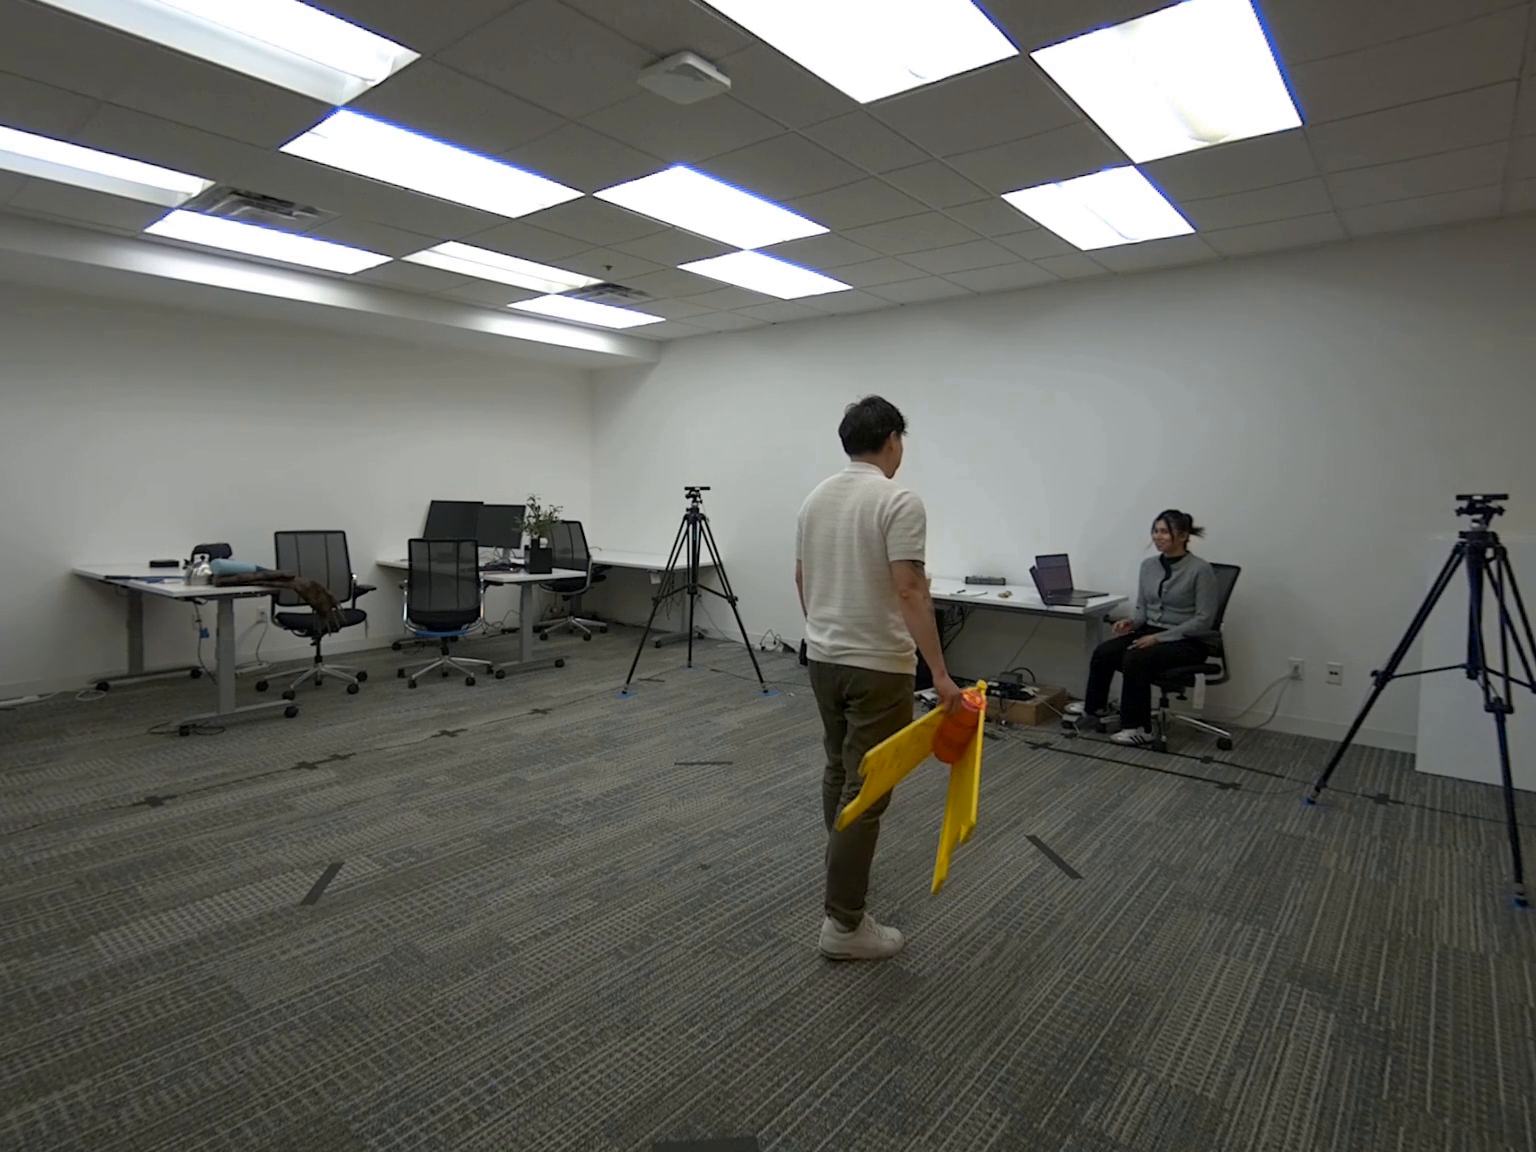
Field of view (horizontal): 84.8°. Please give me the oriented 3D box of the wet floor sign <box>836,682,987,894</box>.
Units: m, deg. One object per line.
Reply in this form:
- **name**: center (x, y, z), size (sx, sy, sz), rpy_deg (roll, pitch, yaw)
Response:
- **wet floor sign**: center (0.484, 0.510, 2.413), size (0.298, 0.277, 0.640), rpy_deg (28, 34, 19)
